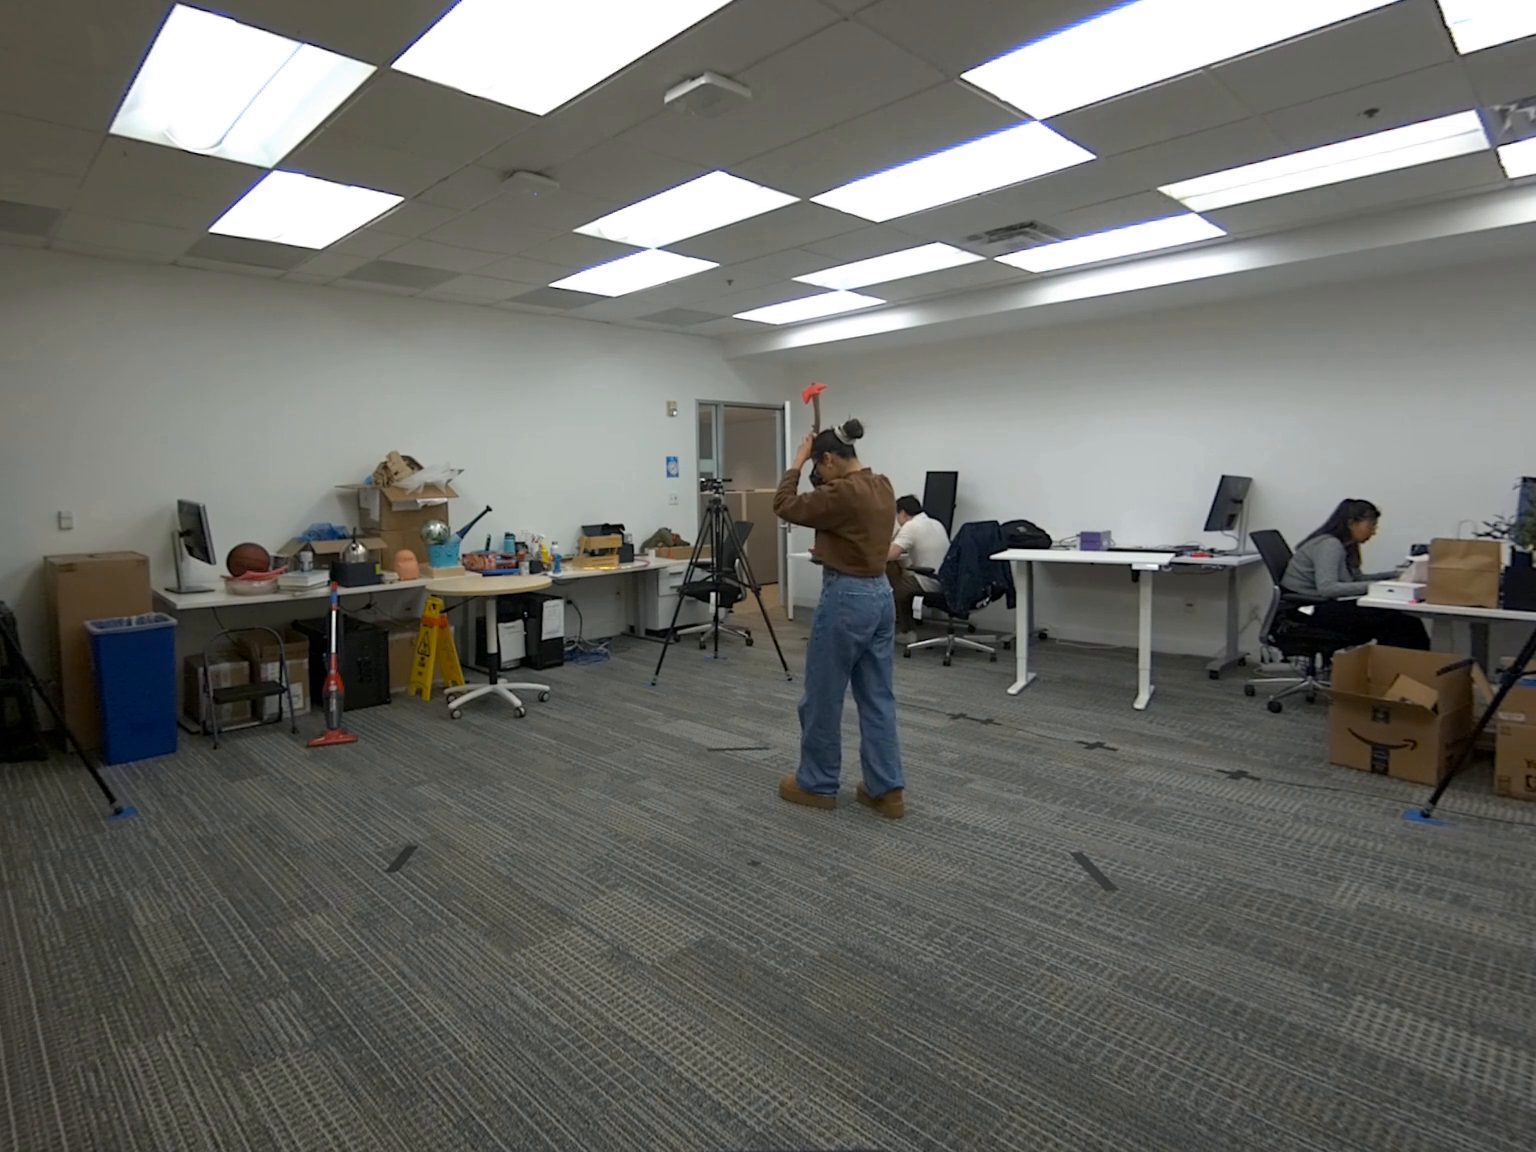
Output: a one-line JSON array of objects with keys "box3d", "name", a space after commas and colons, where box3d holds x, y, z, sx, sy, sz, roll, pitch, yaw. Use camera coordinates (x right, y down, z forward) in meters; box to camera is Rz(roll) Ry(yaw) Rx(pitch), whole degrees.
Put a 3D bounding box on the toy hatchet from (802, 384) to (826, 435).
[{"box3d": [0.182, -0.711, 3.731, 0.135, 0.269, 0.029, 14, 8, 37], "name": "toy hatchet"}]
